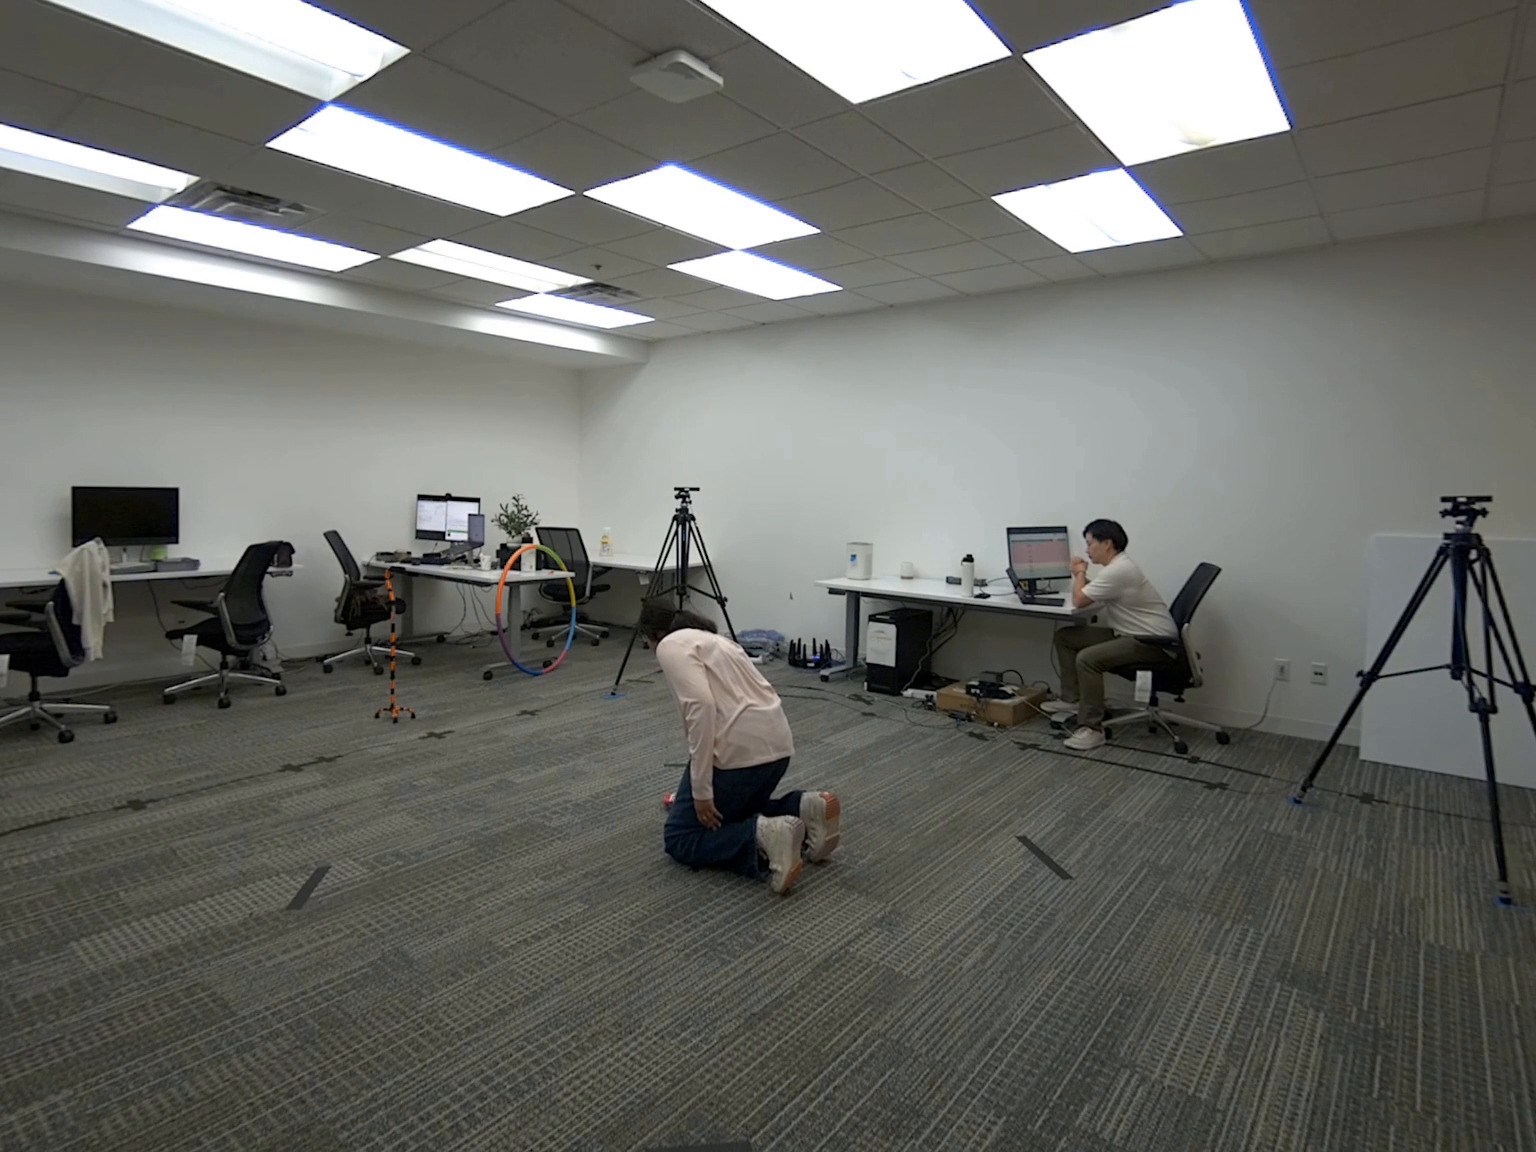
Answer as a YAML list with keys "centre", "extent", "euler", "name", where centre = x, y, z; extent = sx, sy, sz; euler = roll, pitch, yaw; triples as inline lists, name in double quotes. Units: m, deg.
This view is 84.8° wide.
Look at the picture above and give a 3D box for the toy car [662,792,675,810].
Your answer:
- centre: [-0.332, 0.963, 3.692]
  extent: [0.254, 0.083, 0.130]
  euler: [-8, 3, 0]
  name: "toy car"
